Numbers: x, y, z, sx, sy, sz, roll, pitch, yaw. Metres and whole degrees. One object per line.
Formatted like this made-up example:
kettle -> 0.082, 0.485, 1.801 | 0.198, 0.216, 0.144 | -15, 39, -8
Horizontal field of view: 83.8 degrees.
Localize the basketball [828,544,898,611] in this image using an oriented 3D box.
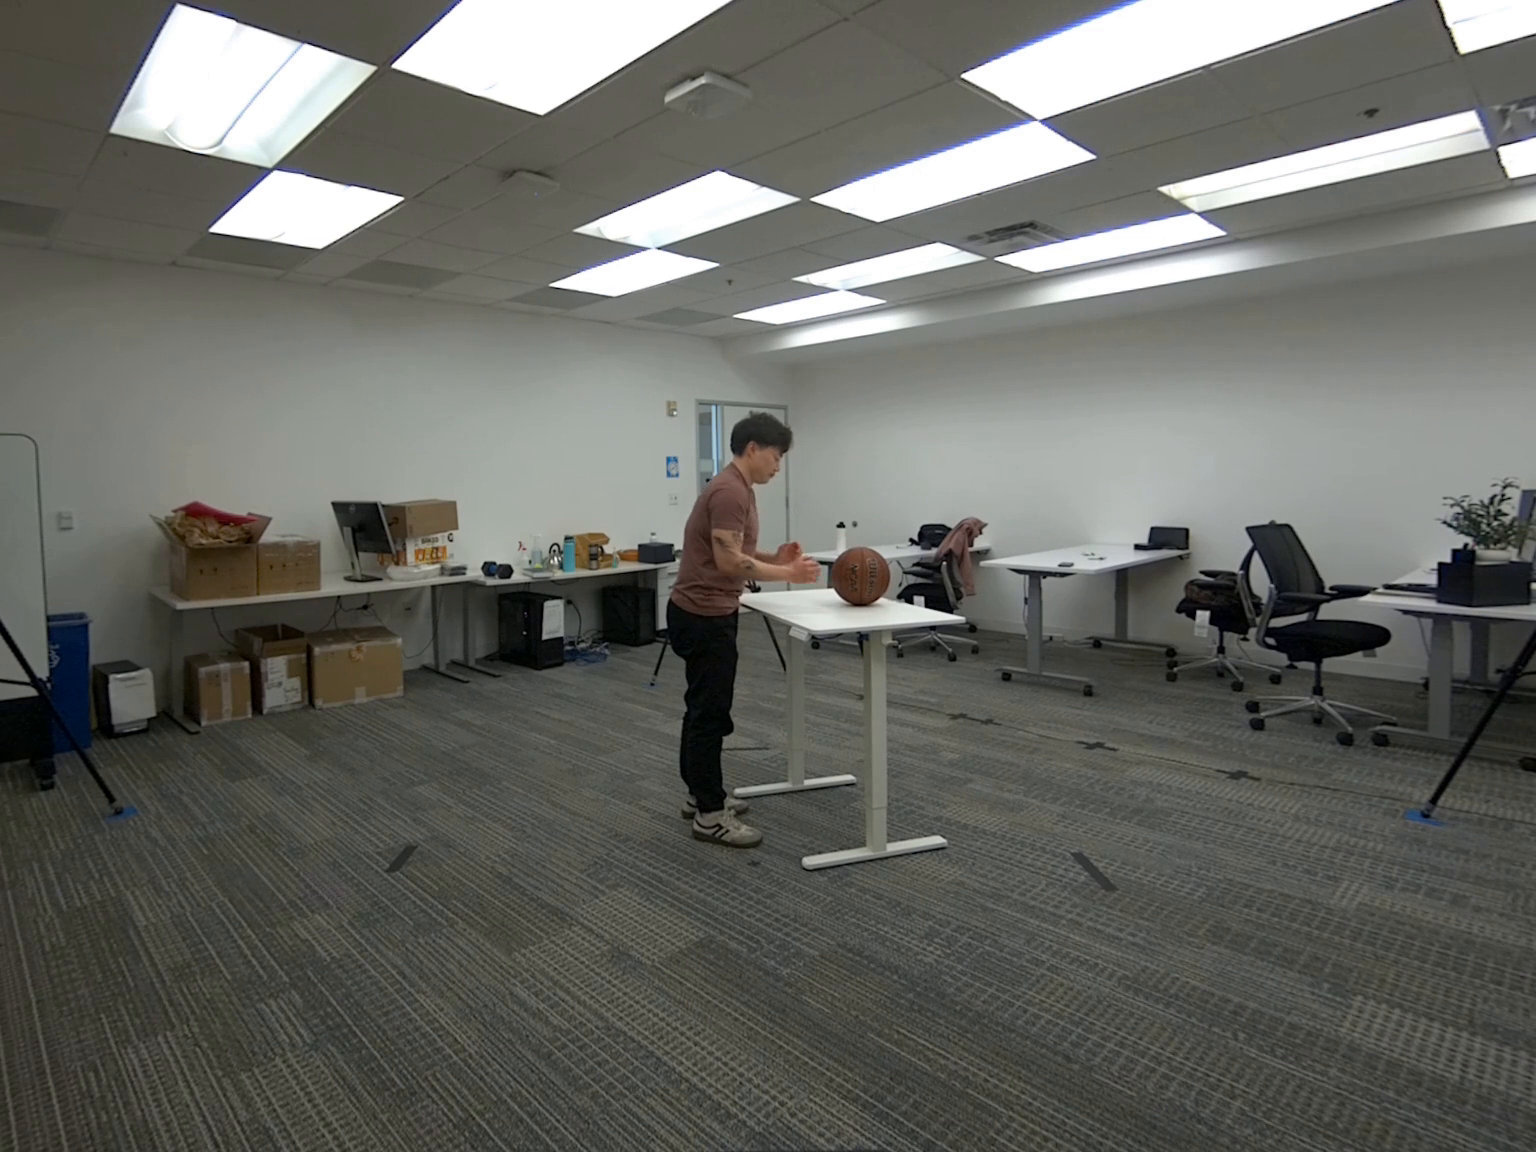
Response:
basketball -> 0.375, 0.000, 3.434 | 0.236, 0.235, 0.237 | -1, 5, -2
